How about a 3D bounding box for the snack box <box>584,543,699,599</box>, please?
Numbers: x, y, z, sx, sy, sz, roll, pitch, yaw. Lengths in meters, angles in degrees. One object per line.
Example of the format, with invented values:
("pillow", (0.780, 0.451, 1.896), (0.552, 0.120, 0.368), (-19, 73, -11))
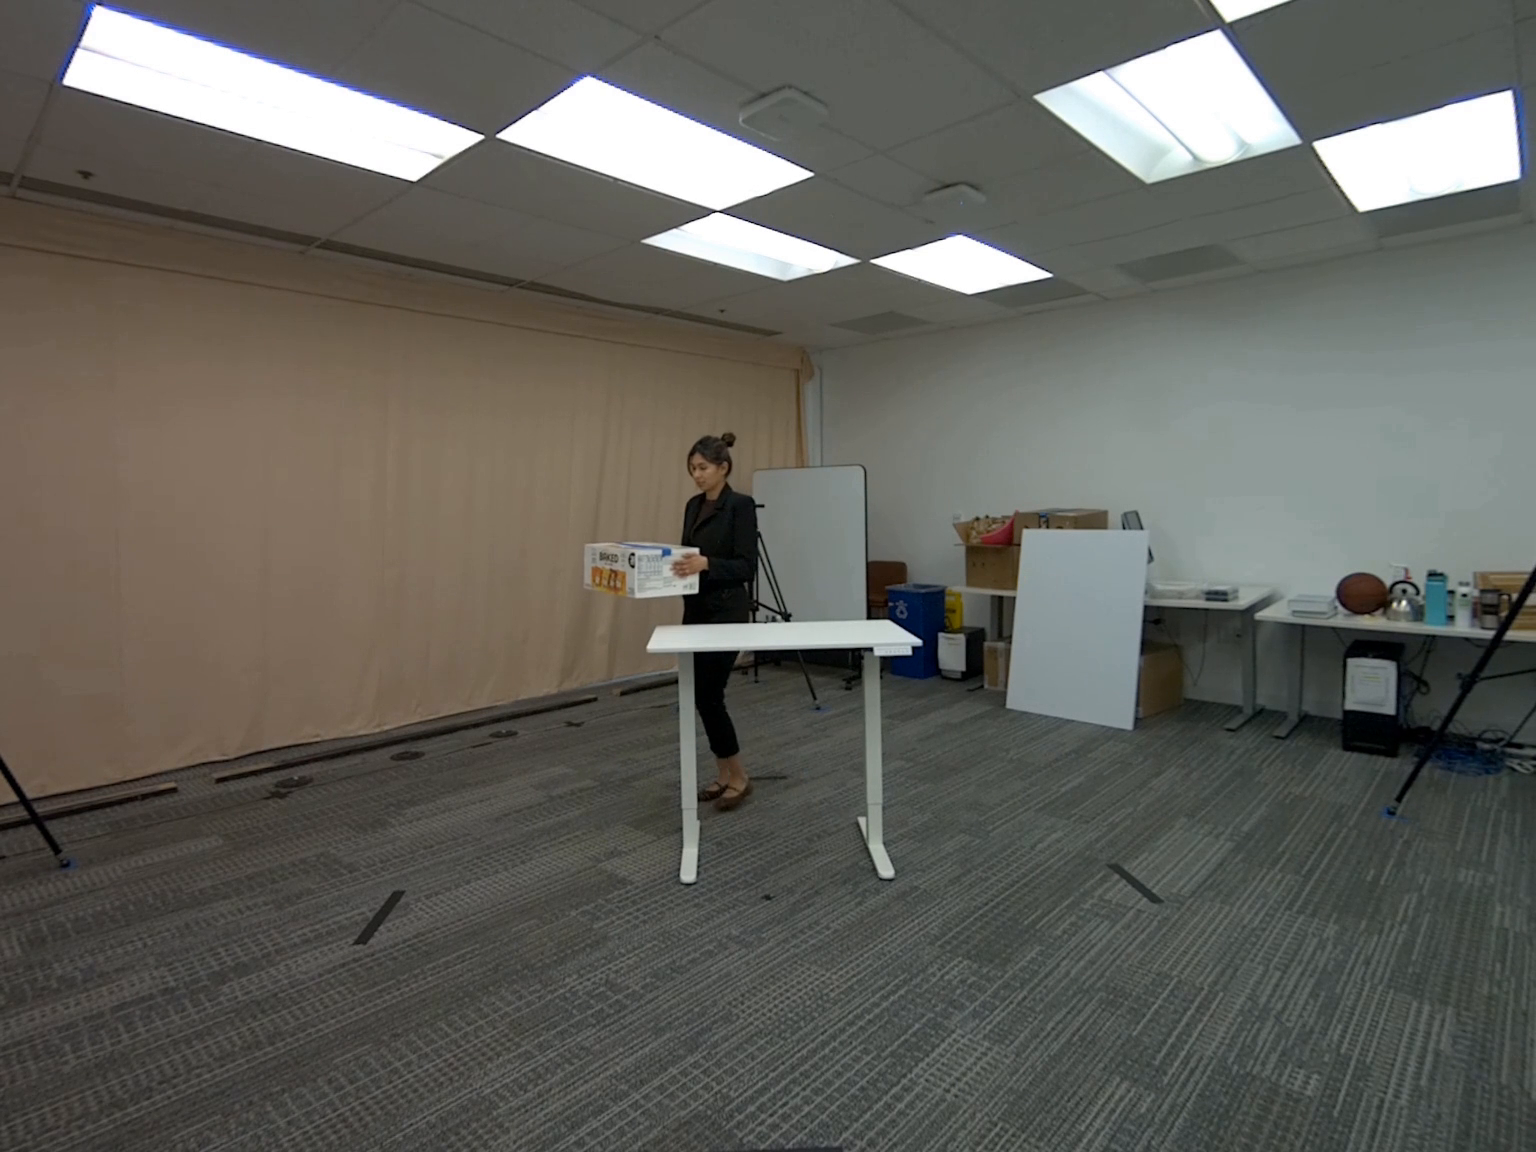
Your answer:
("snack box", (-0.564, -0.031, 3.740), (0.330, 0.205, 0.419), (-5, 8, -42))
